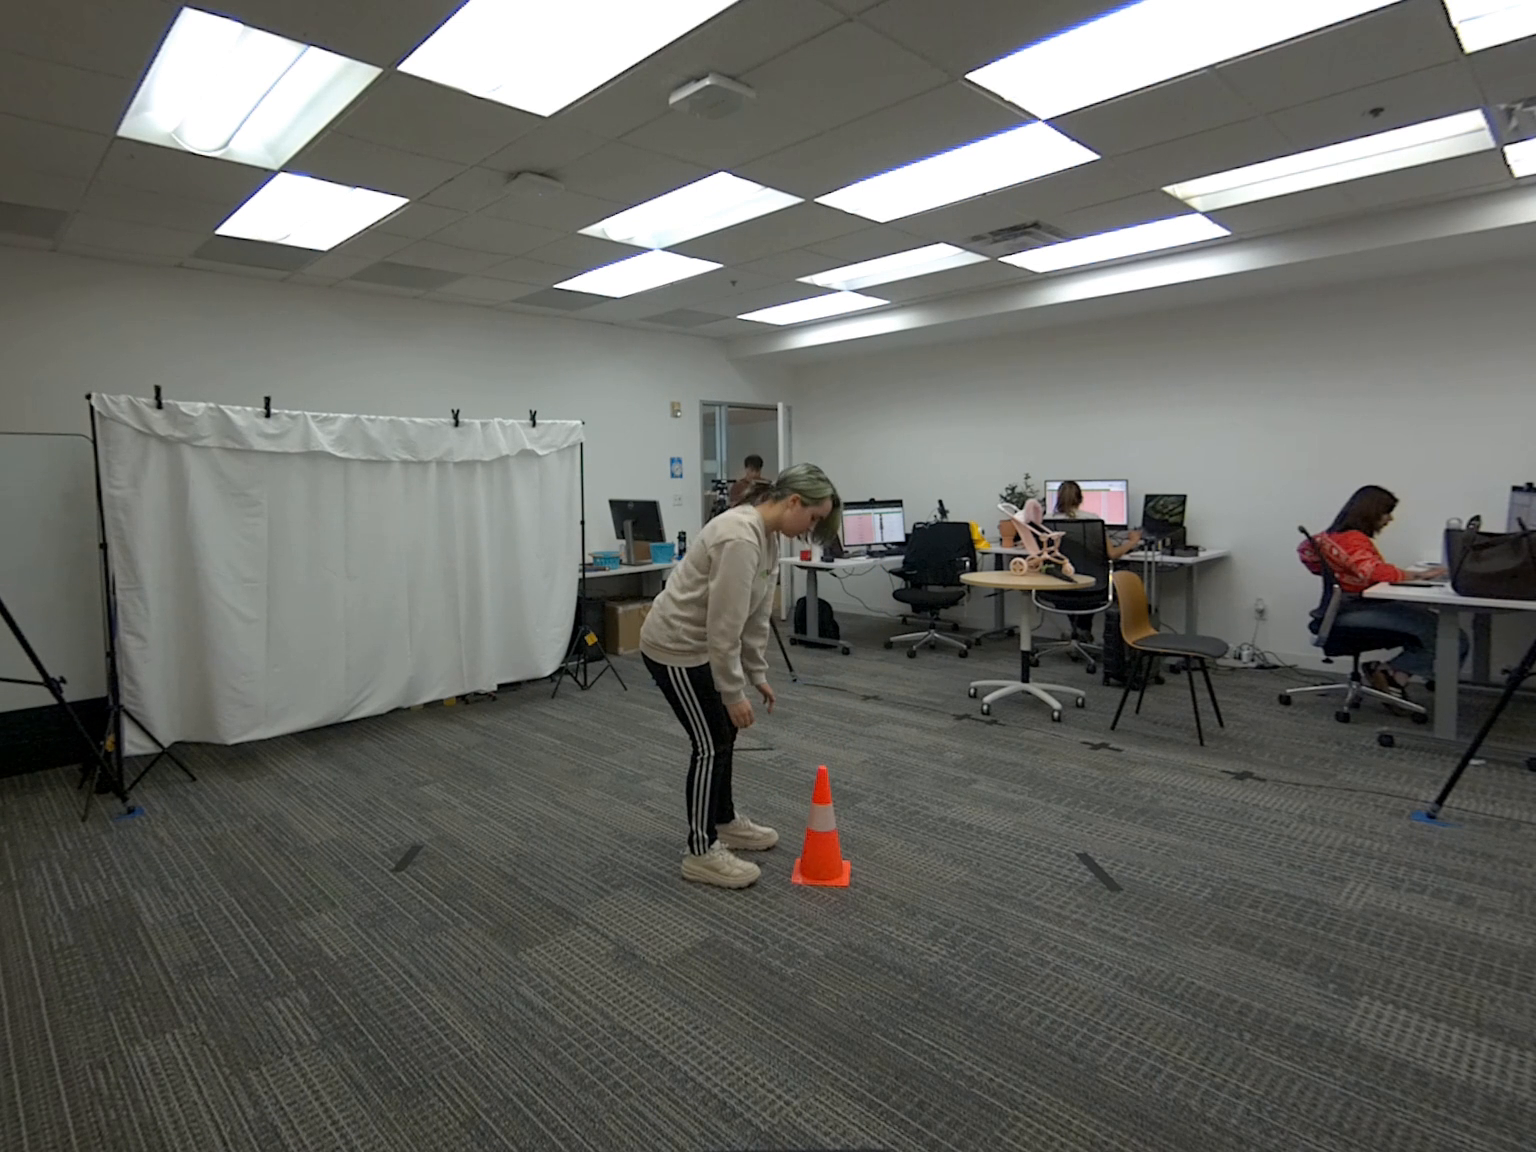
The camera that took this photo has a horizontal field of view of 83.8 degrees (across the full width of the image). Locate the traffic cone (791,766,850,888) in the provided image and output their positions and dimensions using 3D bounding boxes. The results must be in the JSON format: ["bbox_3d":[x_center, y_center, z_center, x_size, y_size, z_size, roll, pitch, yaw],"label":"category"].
[{"bbox_3d":[0.194,0.868,3.021,0.206,0.382,0.203,1,5,11],"label":"traffic cone"}]
